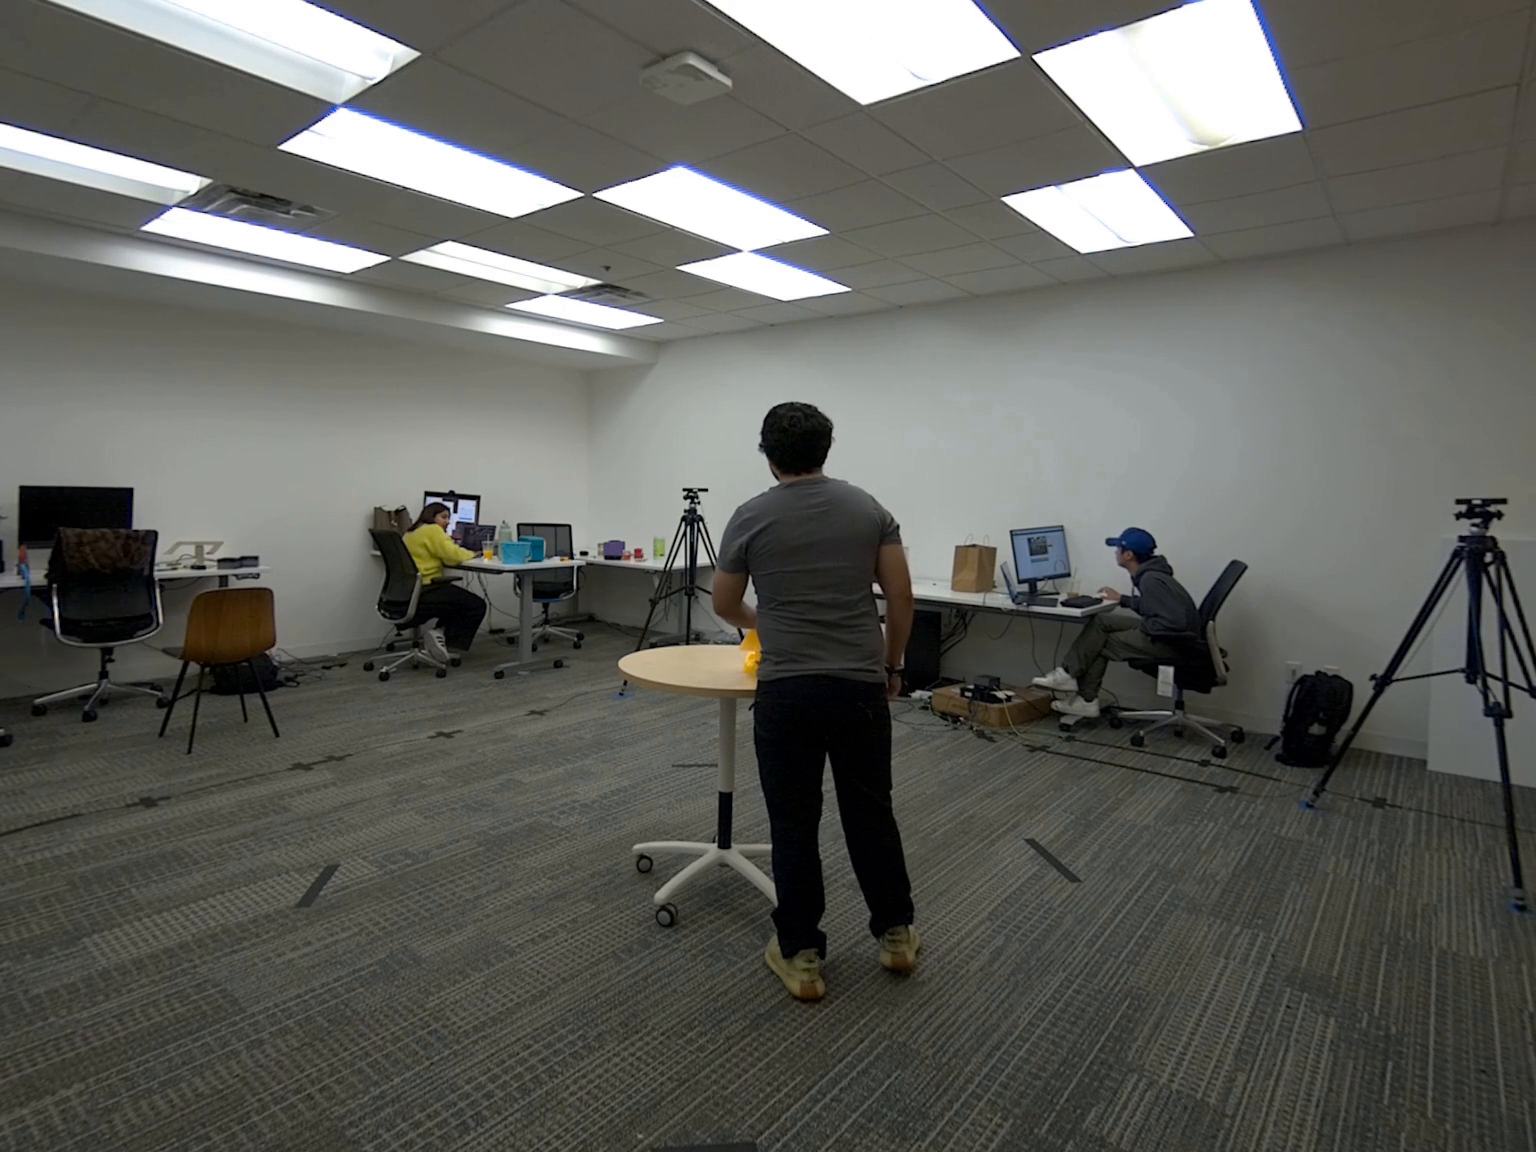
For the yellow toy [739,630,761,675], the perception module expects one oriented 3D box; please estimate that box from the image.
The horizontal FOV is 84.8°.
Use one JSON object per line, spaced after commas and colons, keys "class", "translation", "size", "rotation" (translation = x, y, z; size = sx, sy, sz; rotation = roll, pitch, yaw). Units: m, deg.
{"class": "yellow toy", "translation": [0.012, 0.204, 2.845], "size": [0.208, 0.230, 0.190], "rotation": [4, 3, 14]}
